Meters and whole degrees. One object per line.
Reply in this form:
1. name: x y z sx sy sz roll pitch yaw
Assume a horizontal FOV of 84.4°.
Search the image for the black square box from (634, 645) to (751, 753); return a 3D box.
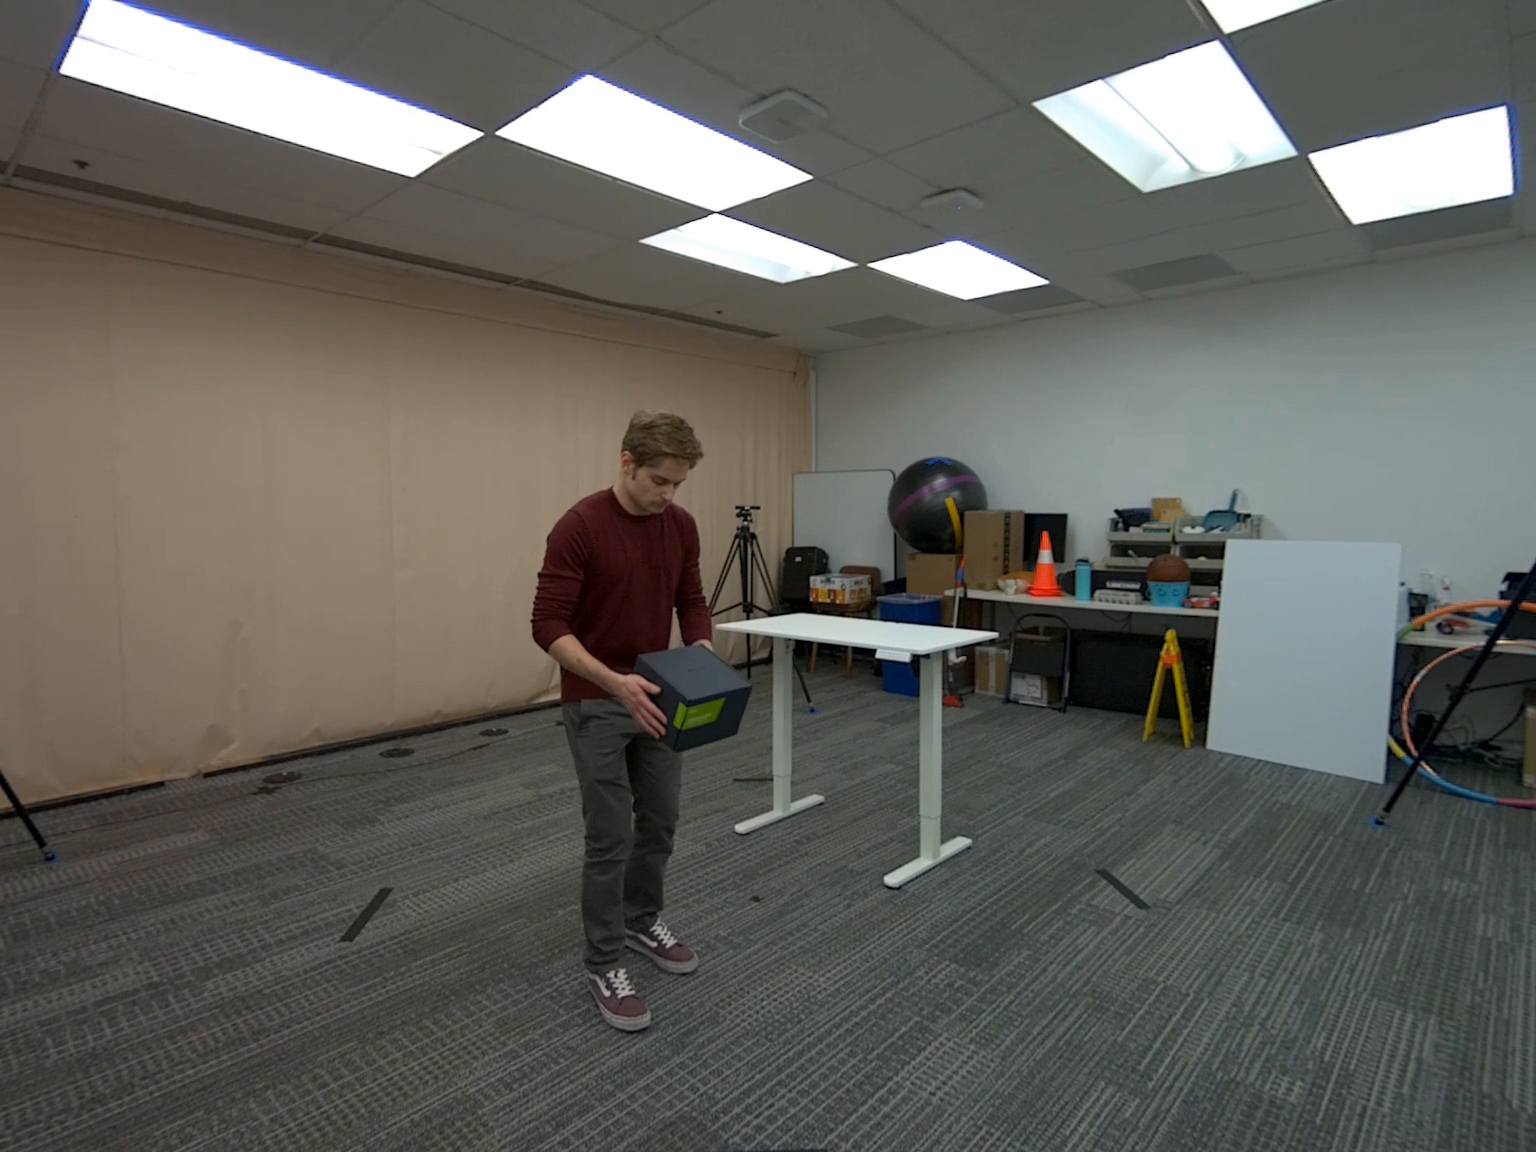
1. black square box: -0.208 0.317 2.183 0.221 0.155 0.225 -5 30 -46
